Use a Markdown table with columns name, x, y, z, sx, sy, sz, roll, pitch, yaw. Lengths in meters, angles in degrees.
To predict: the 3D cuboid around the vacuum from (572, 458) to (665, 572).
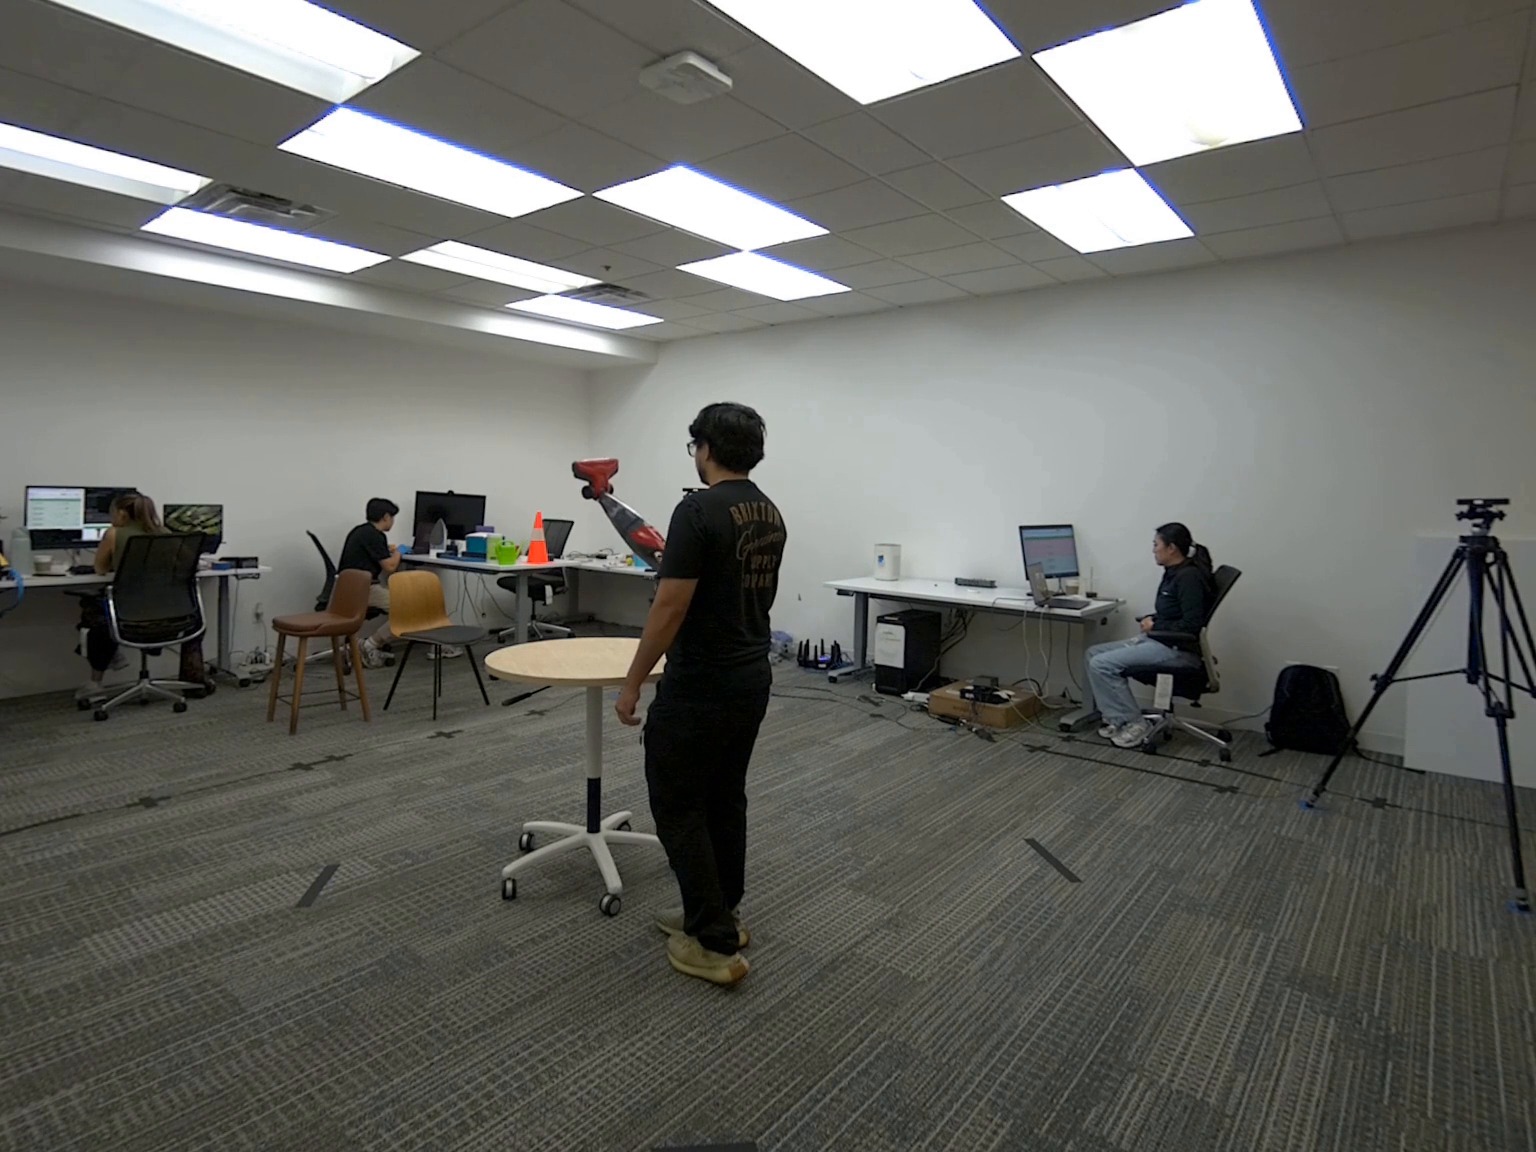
| name | x | y | z | sx | sy | sz | roll | pitch | yaw |
| --- | --- | --- | --- | --- | --- | --- | --- | --- | --- |
| vacuum | -0.357 | 0.007 | 3.105 | 0.144 | 1.072 | 0.247 | -47 | -17 | 27 |
